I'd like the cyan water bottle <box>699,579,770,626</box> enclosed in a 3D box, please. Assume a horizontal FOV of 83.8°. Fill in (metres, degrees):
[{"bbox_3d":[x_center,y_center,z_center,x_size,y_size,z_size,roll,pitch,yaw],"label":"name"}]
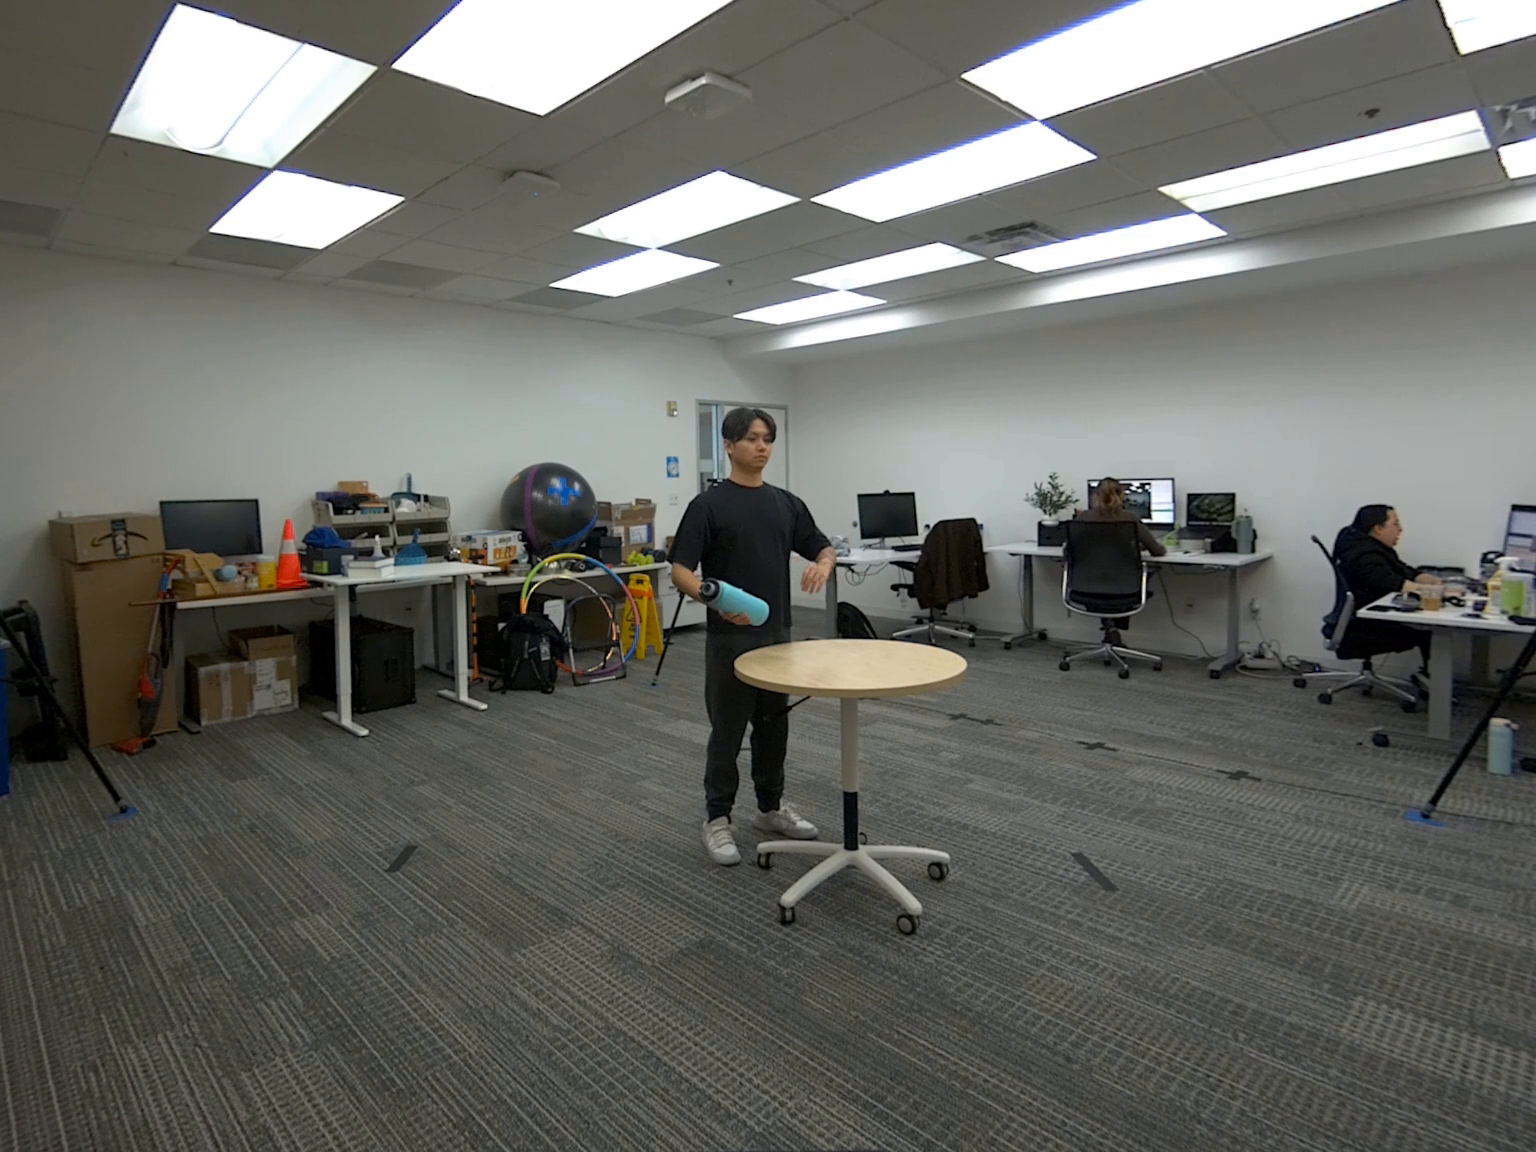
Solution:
[{"bbox_3d":[-0.101,0.078,2.847,0.095,0.093,0.273,3,-18,44],"label":"cyan water bottle"}]
